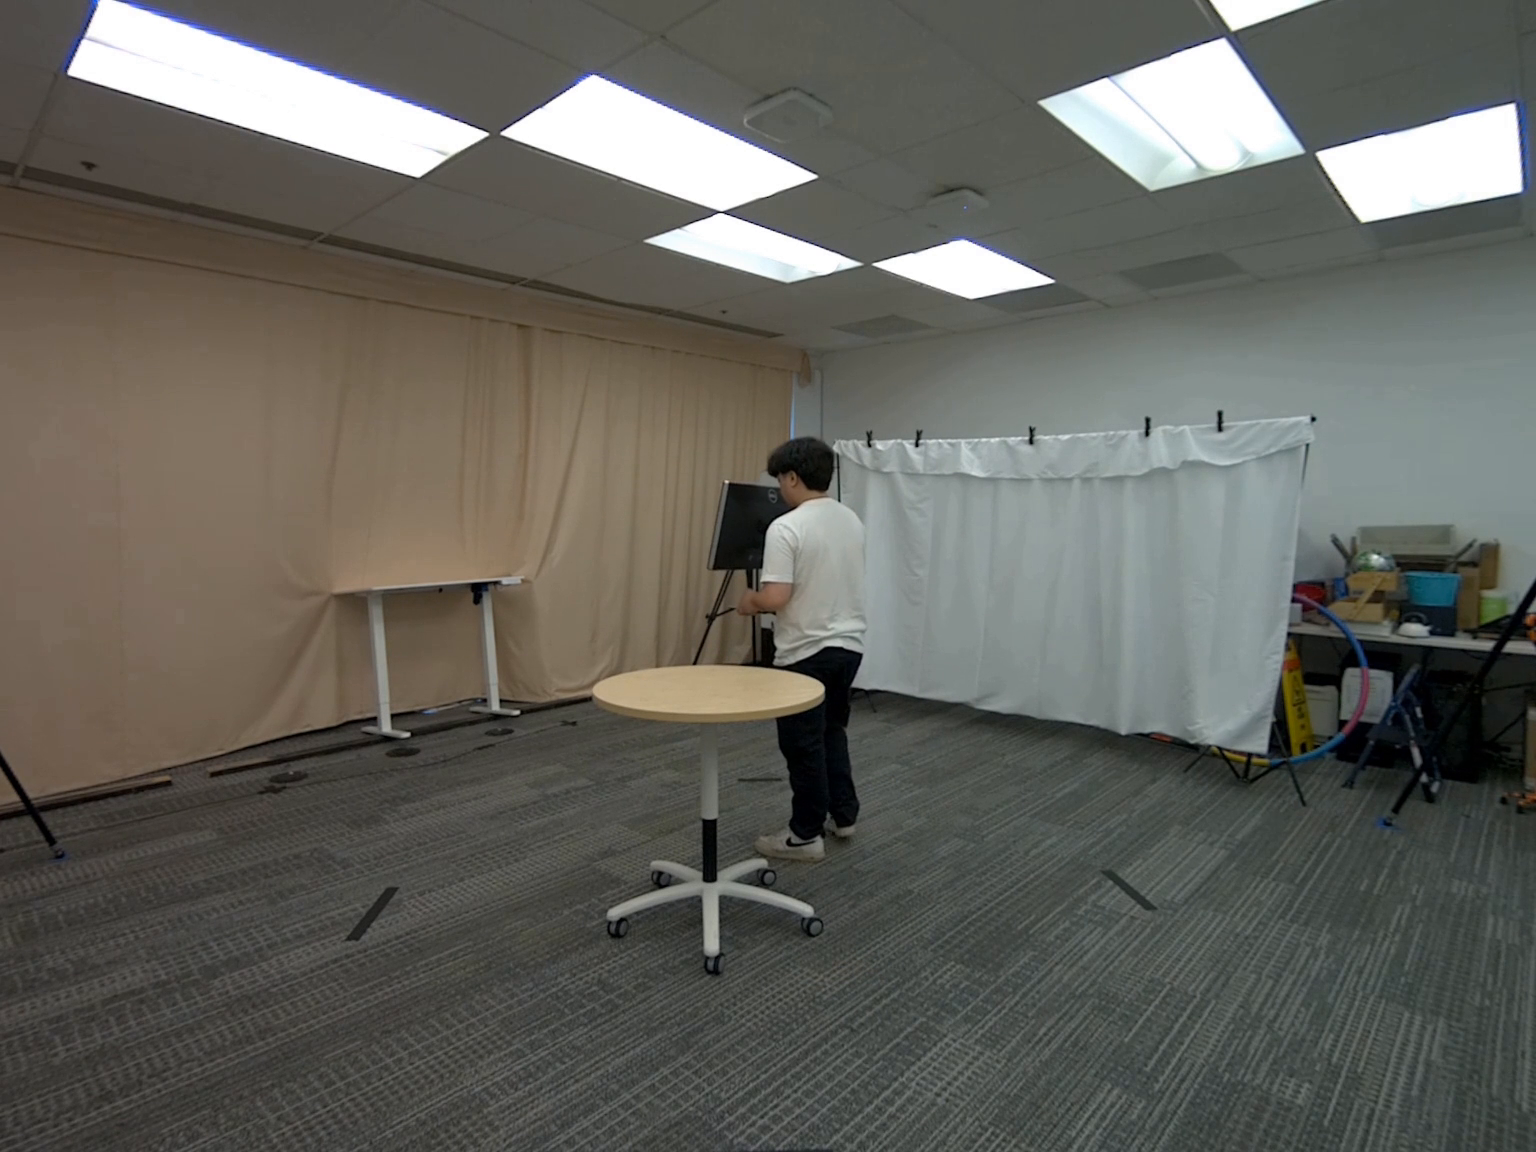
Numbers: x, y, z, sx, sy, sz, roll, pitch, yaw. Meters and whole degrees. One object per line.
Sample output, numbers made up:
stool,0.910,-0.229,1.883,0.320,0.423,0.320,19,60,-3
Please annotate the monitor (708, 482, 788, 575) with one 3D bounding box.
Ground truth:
monitor,0.017,-0.107,3.512,0.217,0.552,0.548,11,7,38
